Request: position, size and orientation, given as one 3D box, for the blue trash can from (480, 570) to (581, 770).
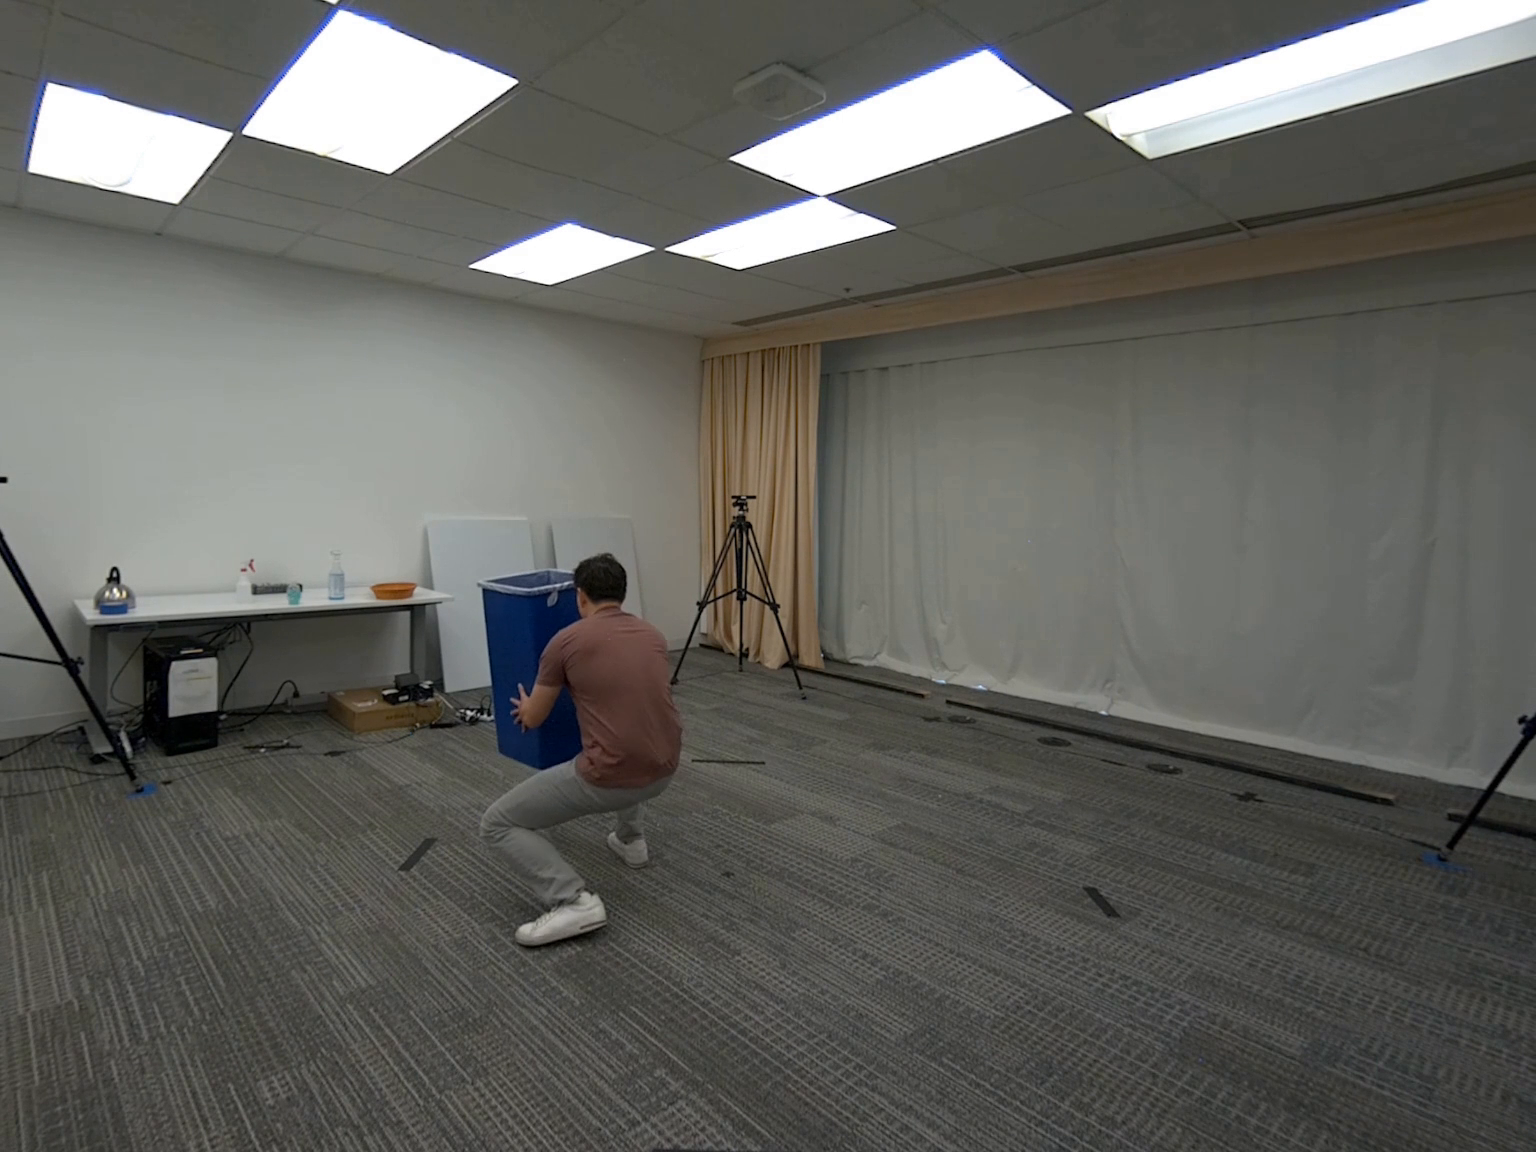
[{"bbox_3d":[-0.913,0.358,3.383,0.384,0.709,0.370,6,10,40],"label":"blue trash can"}]
